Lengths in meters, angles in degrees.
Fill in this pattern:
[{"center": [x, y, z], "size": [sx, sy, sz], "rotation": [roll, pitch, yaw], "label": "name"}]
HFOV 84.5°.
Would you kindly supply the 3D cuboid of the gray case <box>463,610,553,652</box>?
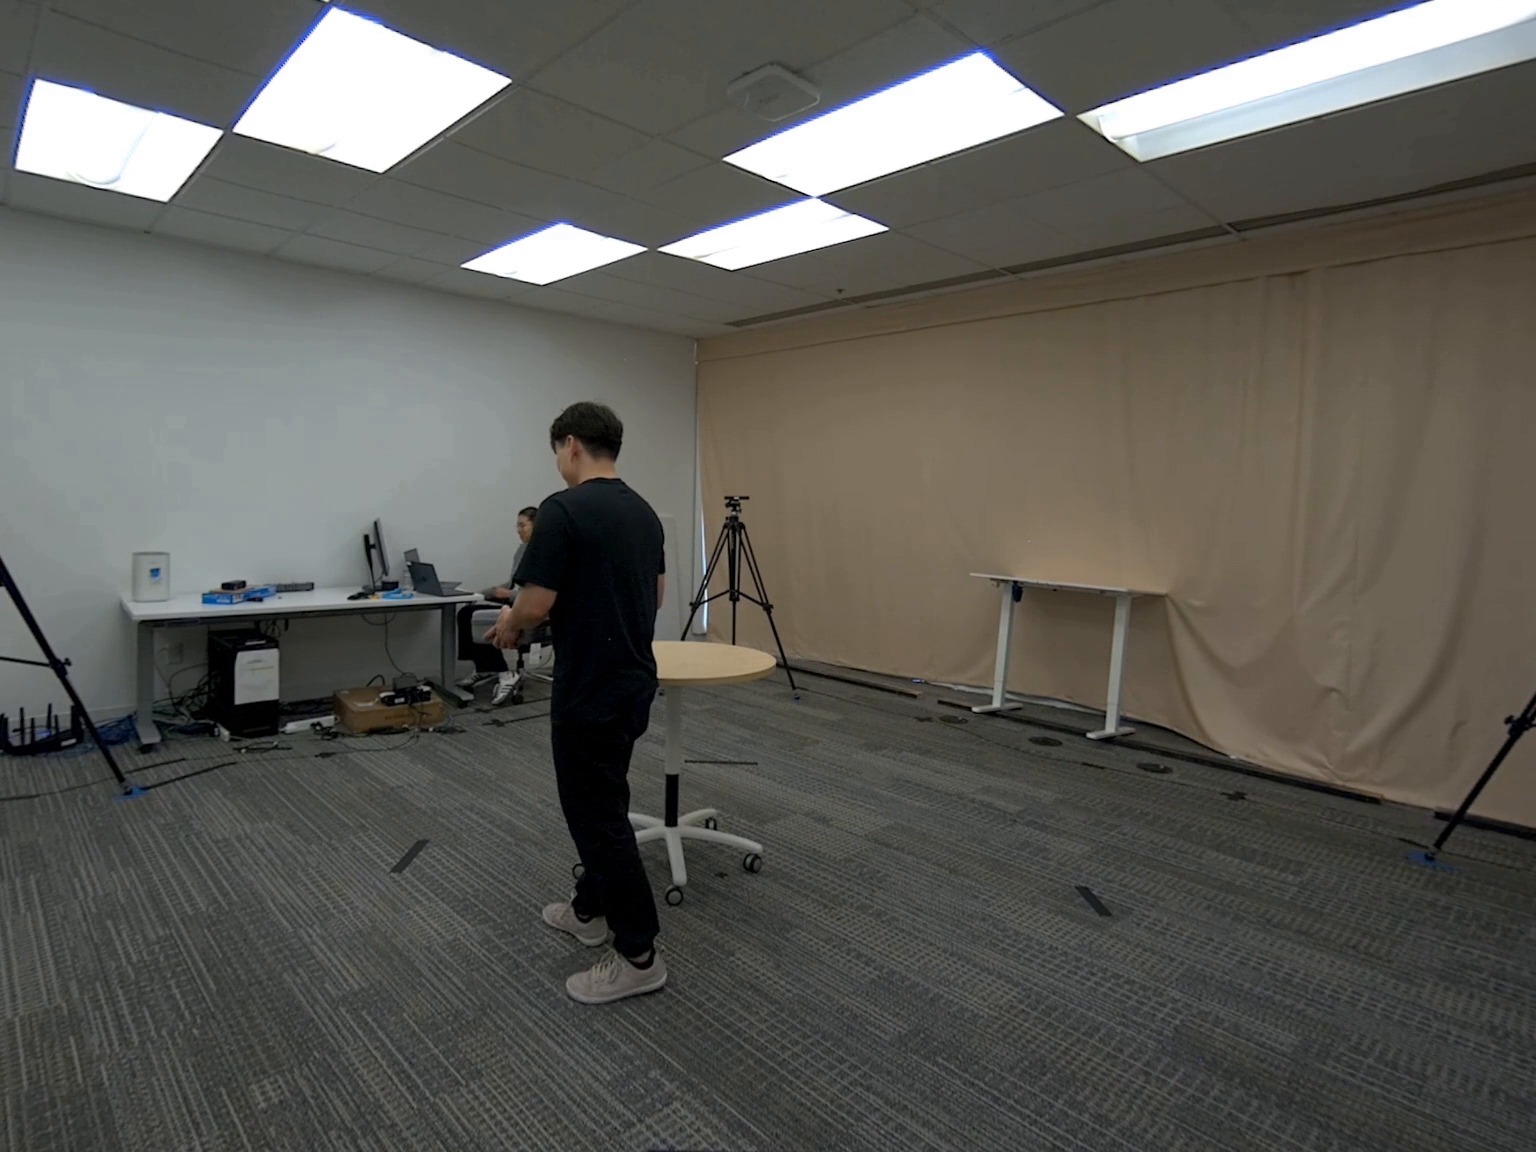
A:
[{"center": [-0.757, 0.162, 2.636], "size": [0.265, 0.104, 0.252], "rotation": [0, 1, 25], "label": "gray case"}]
